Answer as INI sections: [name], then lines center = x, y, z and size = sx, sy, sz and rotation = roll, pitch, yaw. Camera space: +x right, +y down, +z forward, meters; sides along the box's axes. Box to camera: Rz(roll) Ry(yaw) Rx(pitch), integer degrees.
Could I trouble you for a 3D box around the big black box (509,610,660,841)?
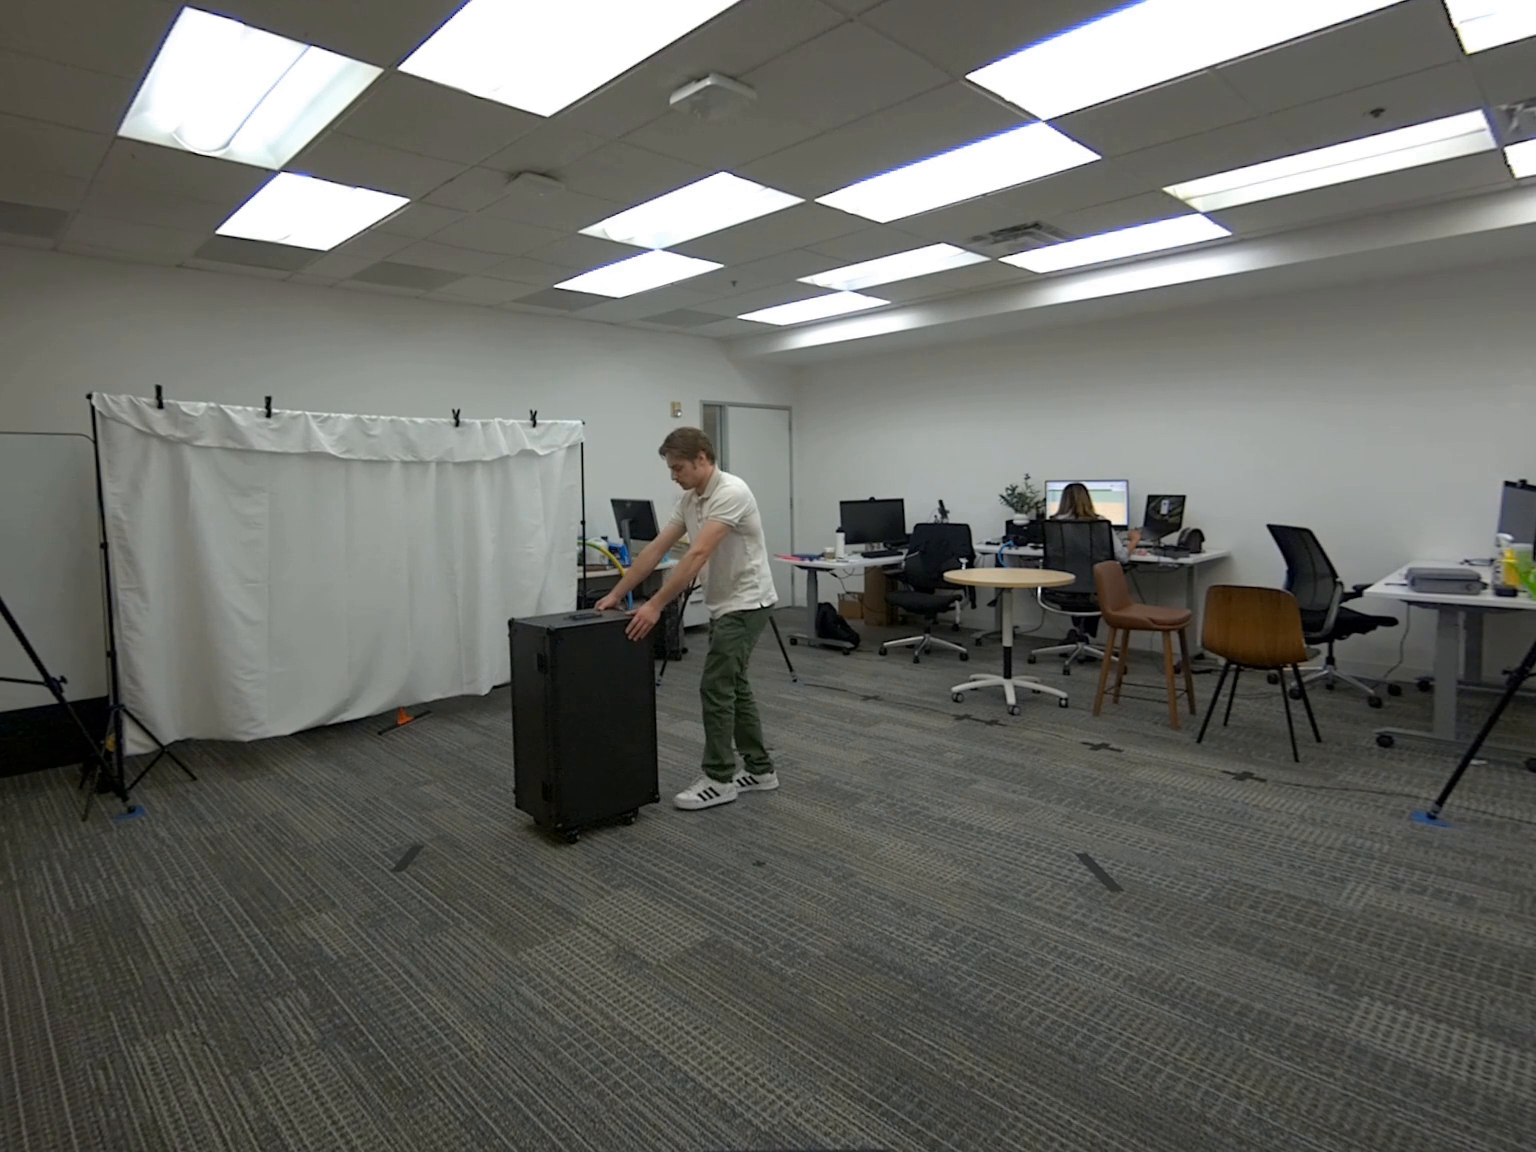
[big black box]
center = -0.762, 0.595, 3.508
size = 0.509, 0.866, 0.397
rotation = -4, 4, -41
